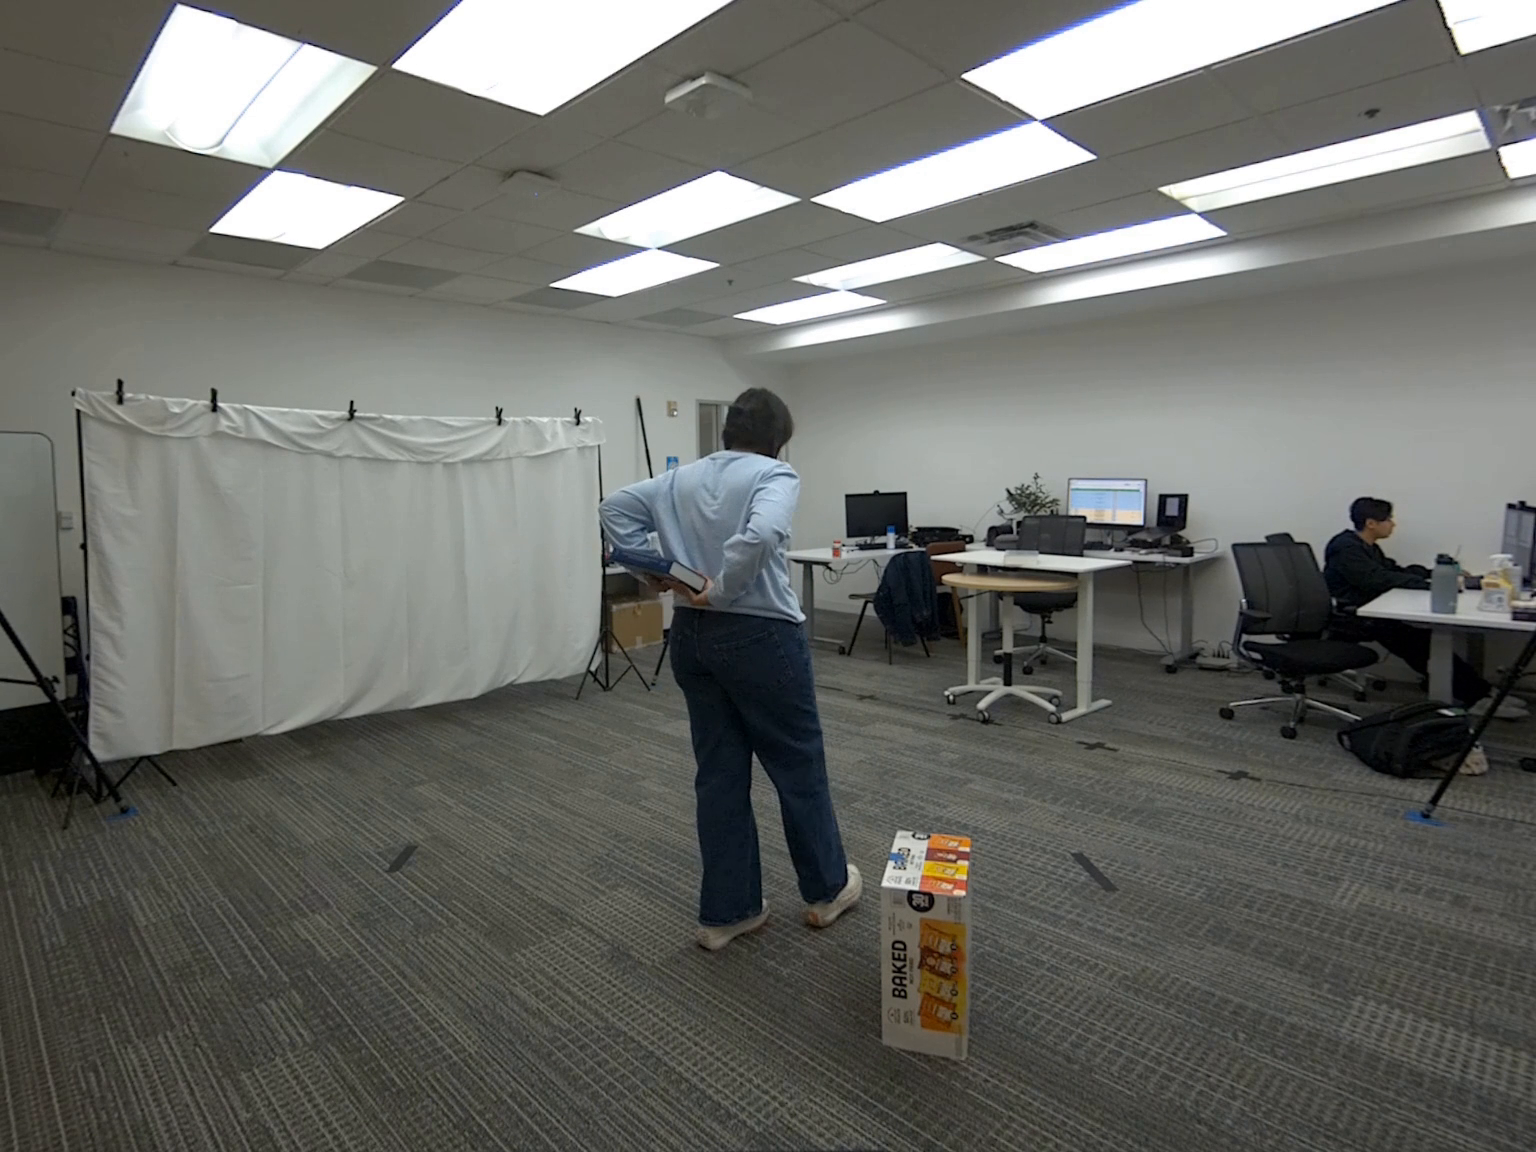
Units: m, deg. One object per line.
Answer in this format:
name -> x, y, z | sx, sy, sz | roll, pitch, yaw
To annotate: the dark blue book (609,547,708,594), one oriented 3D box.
dark blue book -> -0.315, -0.023, 2.472 | 0.253, 0.045, 0.157 | 12, -13, 38
